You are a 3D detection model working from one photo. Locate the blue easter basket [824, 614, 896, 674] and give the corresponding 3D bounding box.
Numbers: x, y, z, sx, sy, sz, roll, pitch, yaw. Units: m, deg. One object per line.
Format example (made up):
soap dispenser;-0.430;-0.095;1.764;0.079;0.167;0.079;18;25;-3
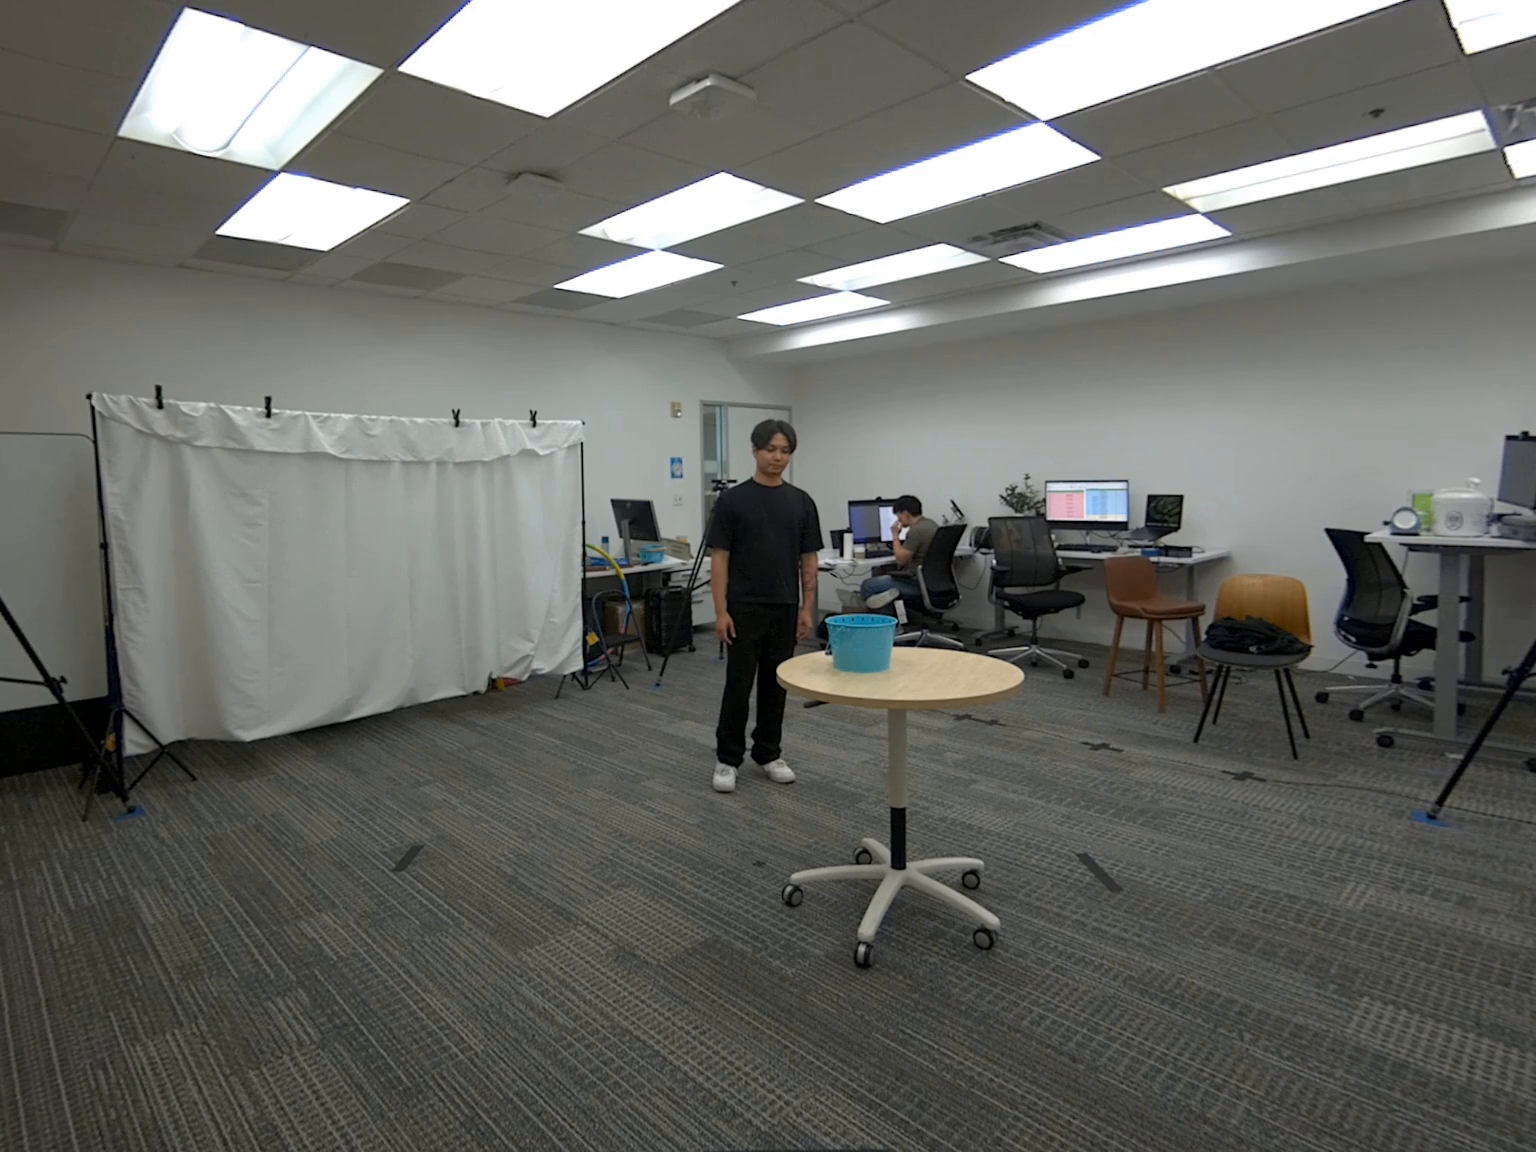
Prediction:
blue easter basket;0.317;0.223;2.779;0.243;0.155;0.245;-1;6;-2
